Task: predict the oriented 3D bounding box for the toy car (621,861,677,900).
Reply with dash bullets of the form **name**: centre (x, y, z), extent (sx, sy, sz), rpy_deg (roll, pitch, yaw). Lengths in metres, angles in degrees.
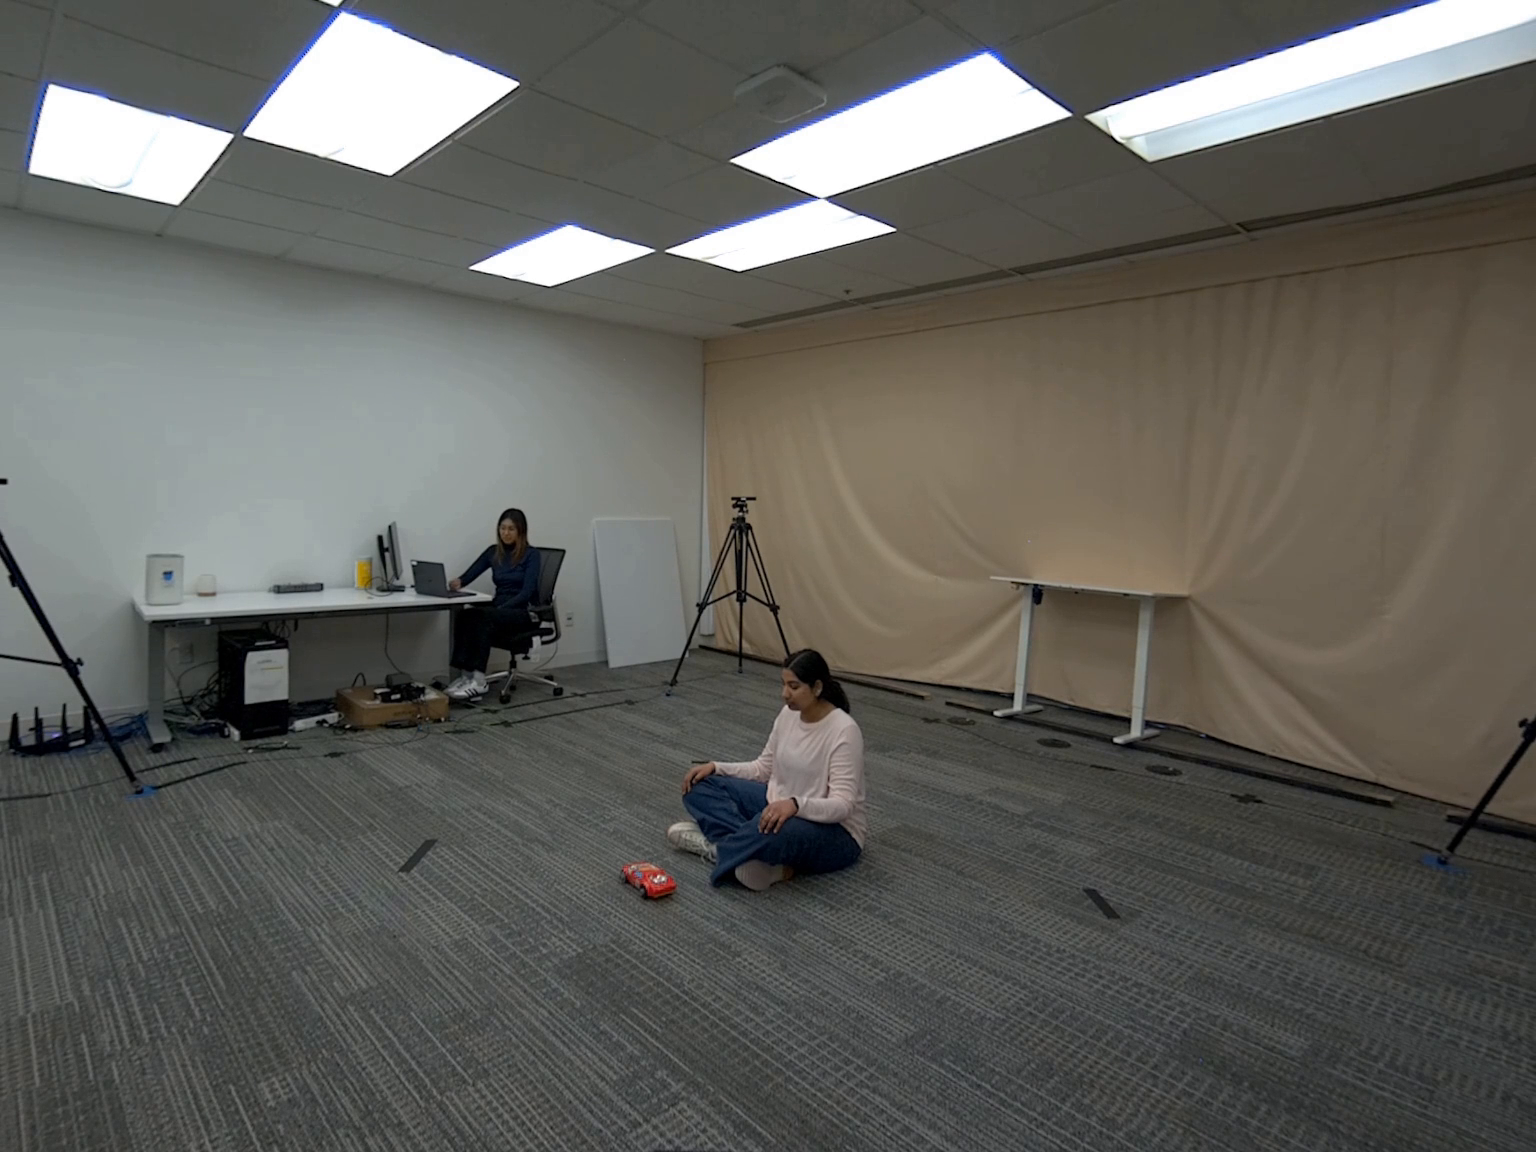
- **toy car**: centre (-0.423, 1.070, 2.982), extent (0.127, 0.083, 0.259), rpy_deg (-3, -5, -37)
